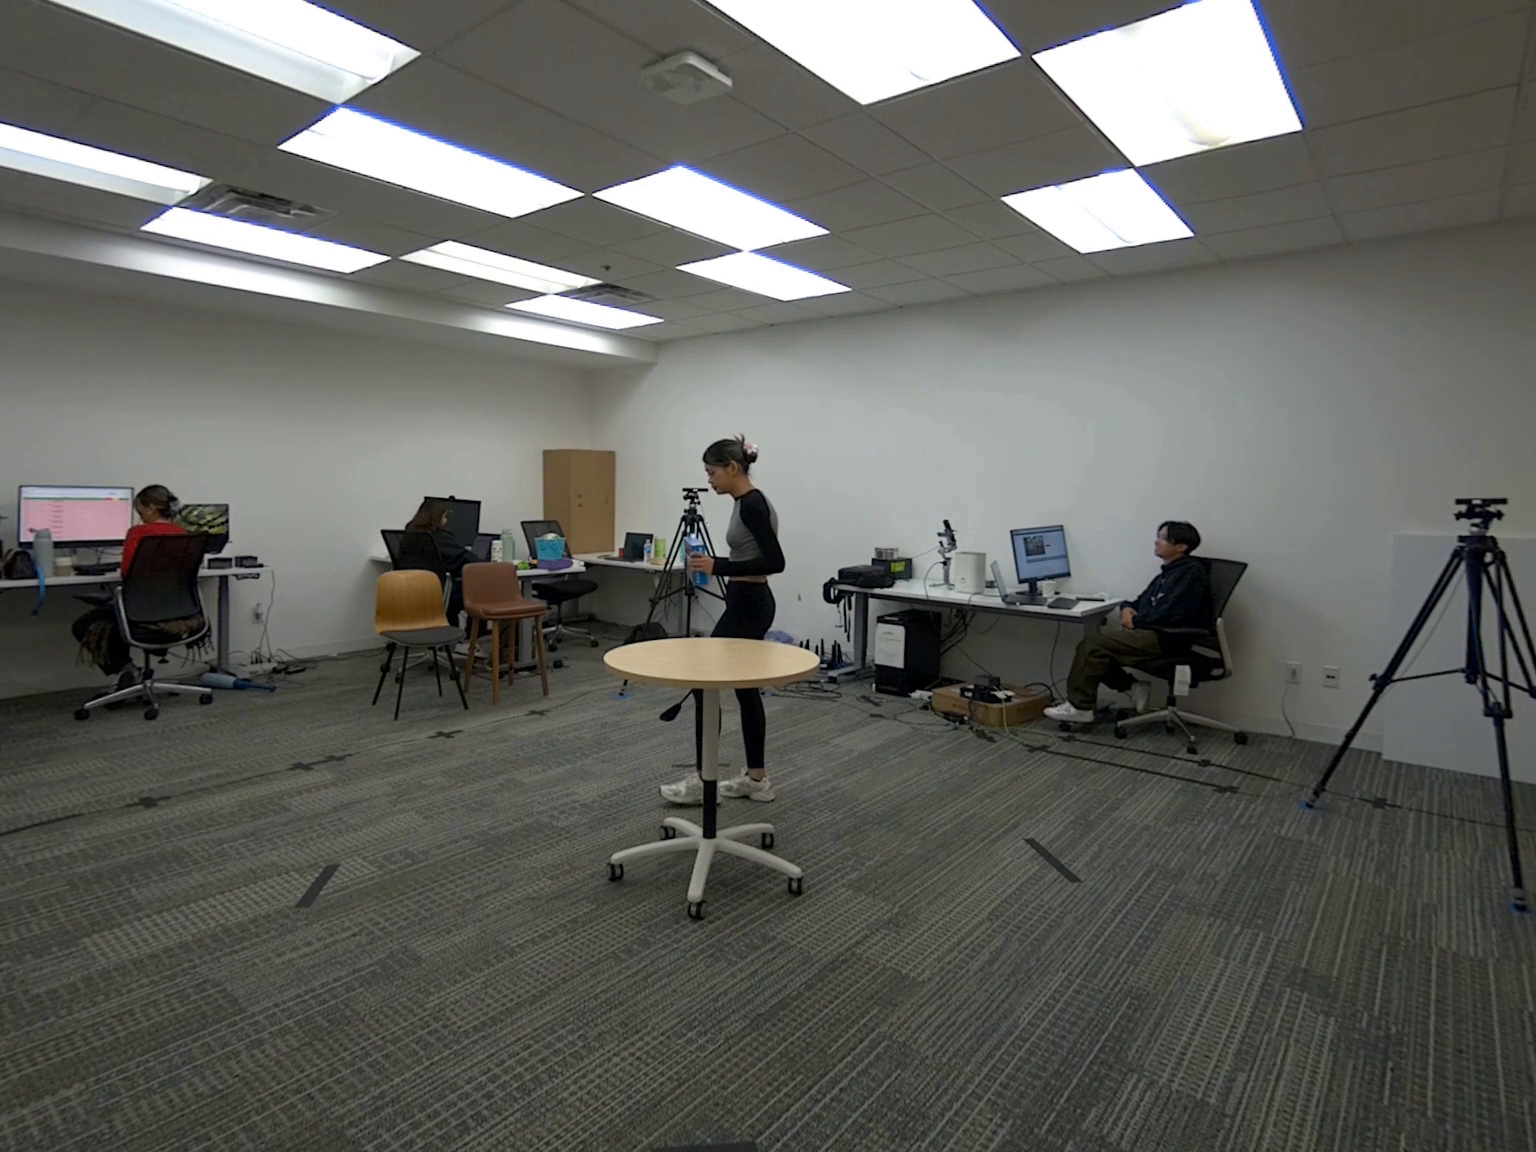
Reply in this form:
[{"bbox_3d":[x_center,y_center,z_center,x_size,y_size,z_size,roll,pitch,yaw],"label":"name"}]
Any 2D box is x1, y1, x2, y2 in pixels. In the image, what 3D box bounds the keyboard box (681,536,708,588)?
[{"bbox_3d":[-0.340,-0.077,3.789,0.058,0.174,0.445,-6,10,-10],"label":"keyboard box"}]
